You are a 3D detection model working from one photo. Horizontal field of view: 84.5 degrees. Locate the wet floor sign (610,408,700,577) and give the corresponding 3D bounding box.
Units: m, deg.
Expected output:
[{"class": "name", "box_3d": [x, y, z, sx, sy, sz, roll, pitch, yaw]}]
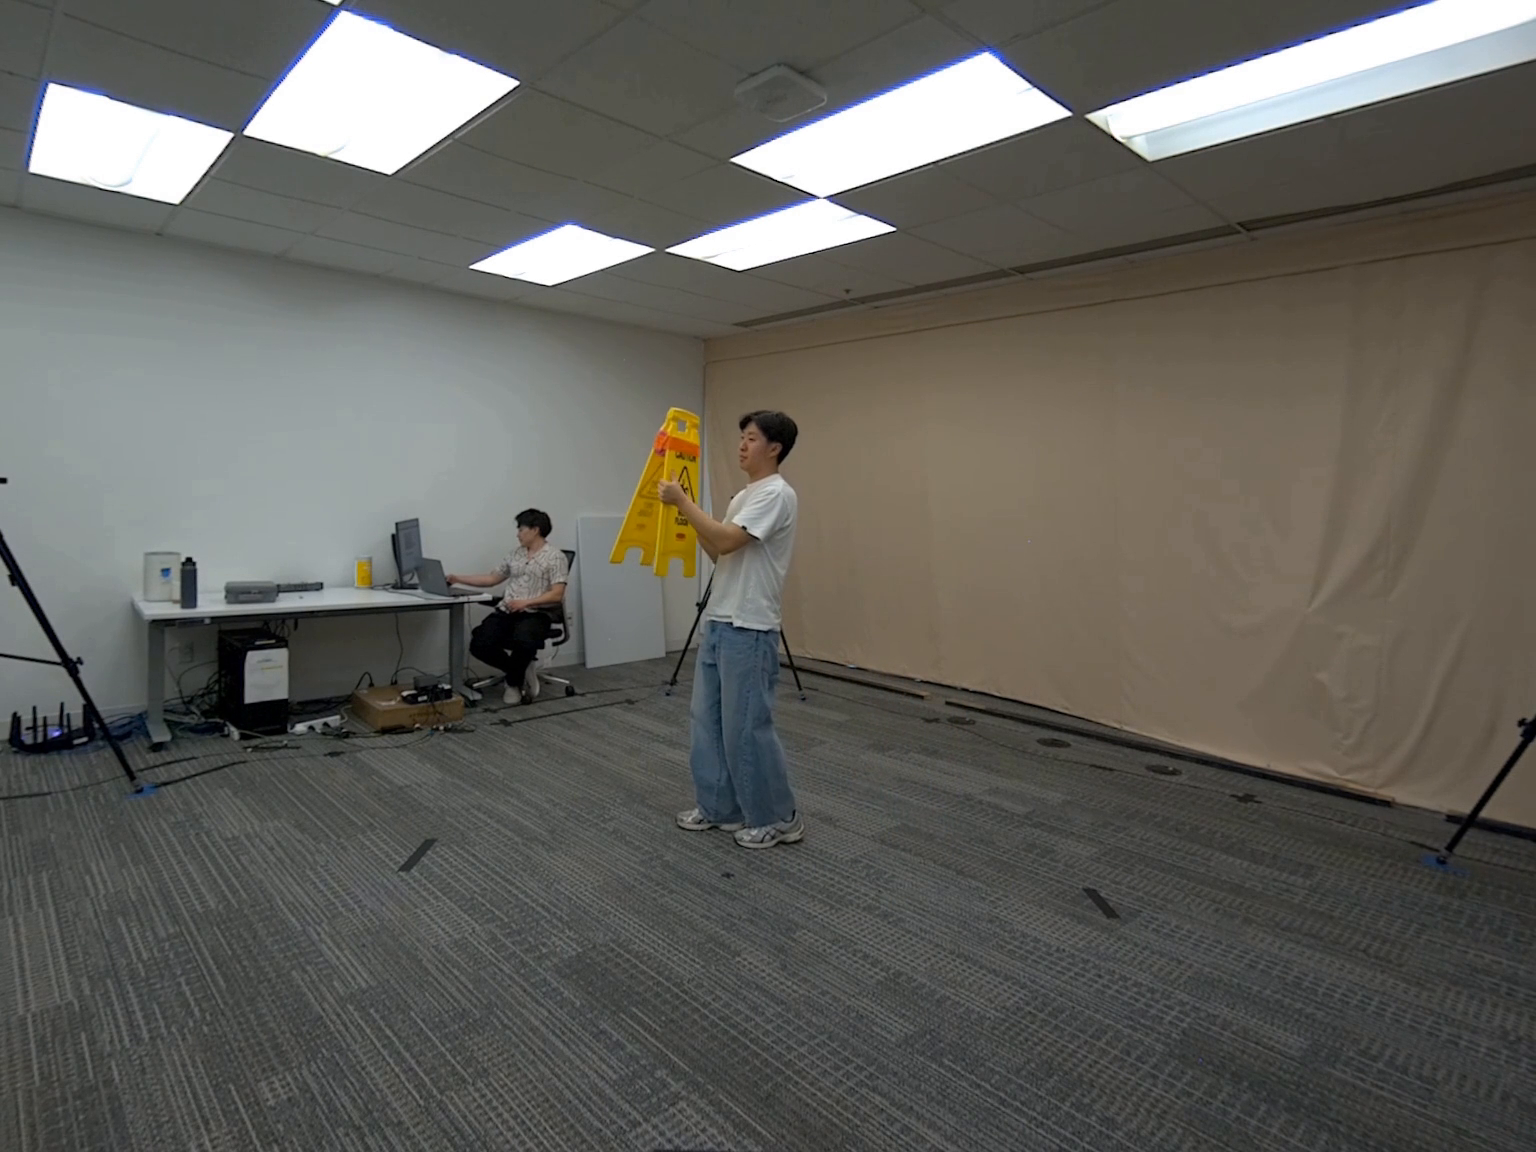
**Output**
[{"class": "wet floor sign", "box_3d": [-0.394, -0.333, 3.377, 0.296, 0.645, 0.276, 14, 4, 27]}]
